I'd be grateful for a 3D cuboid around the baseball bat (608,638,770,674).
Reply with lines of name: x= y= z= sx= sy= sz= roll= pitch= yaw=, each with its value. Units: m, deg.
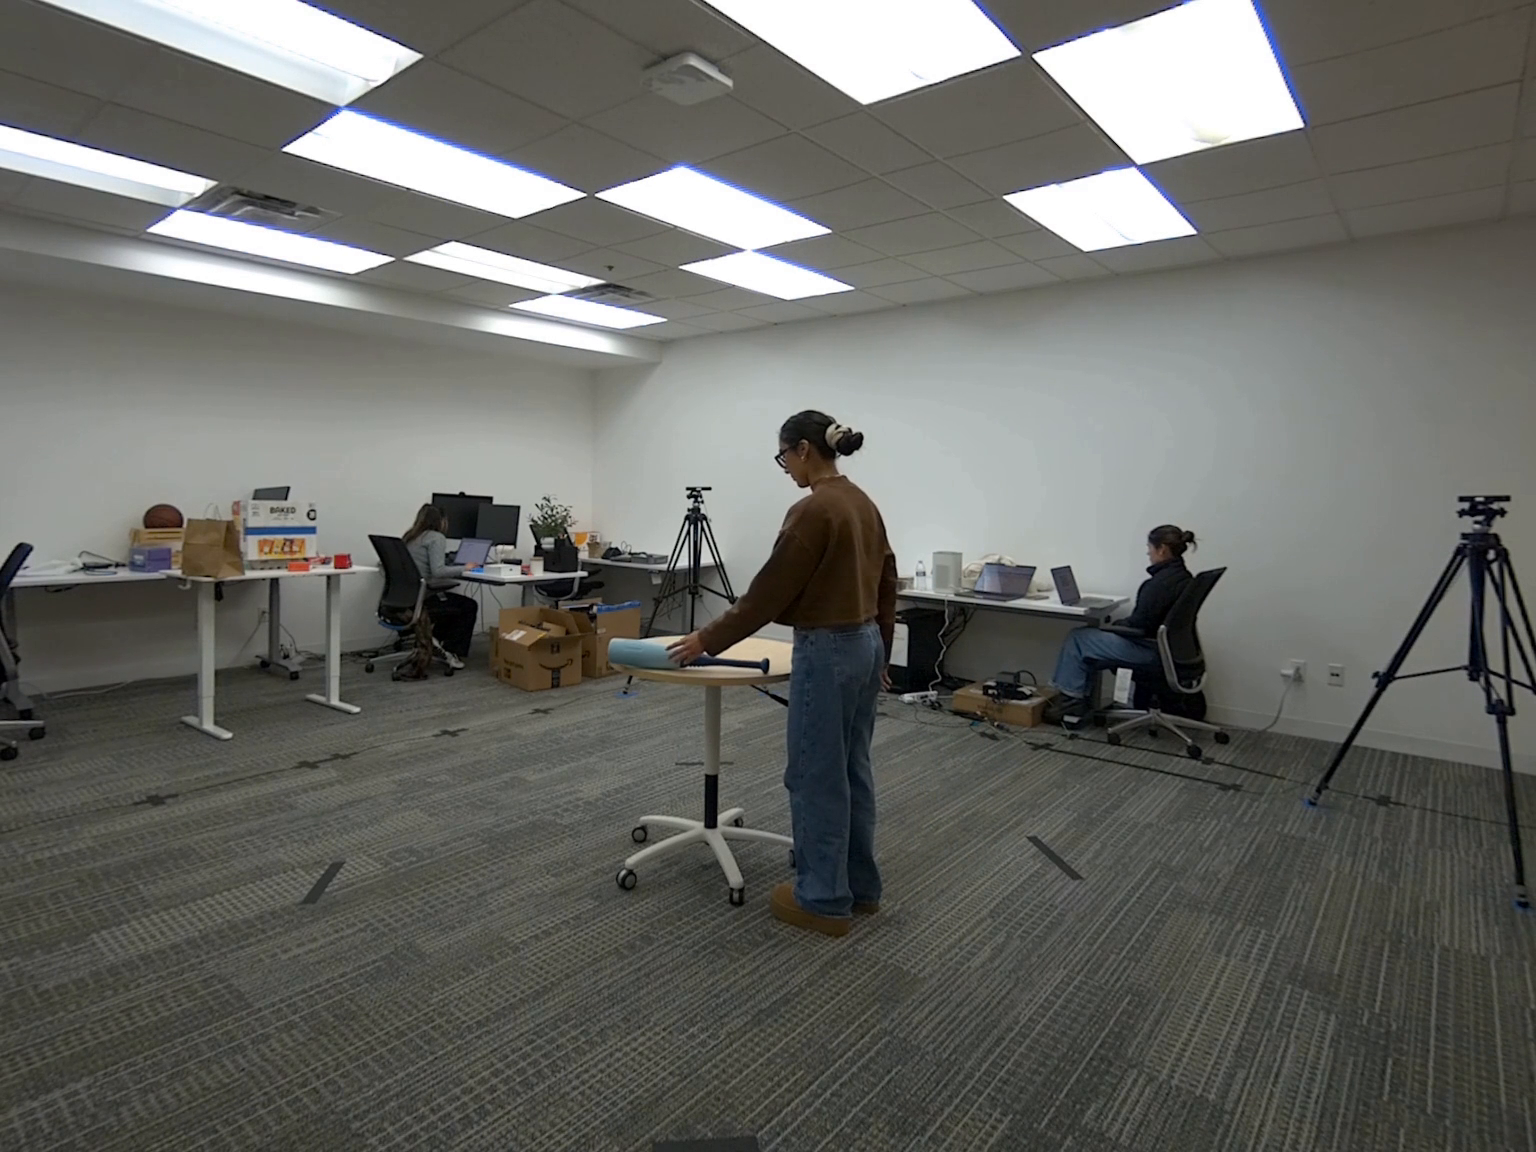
baseball bat: x=-0.276 y=0.286 z=2.820 sx=0.549 sy=0.089 sz=0.088 roll=8 pitch=5 yaw=10
